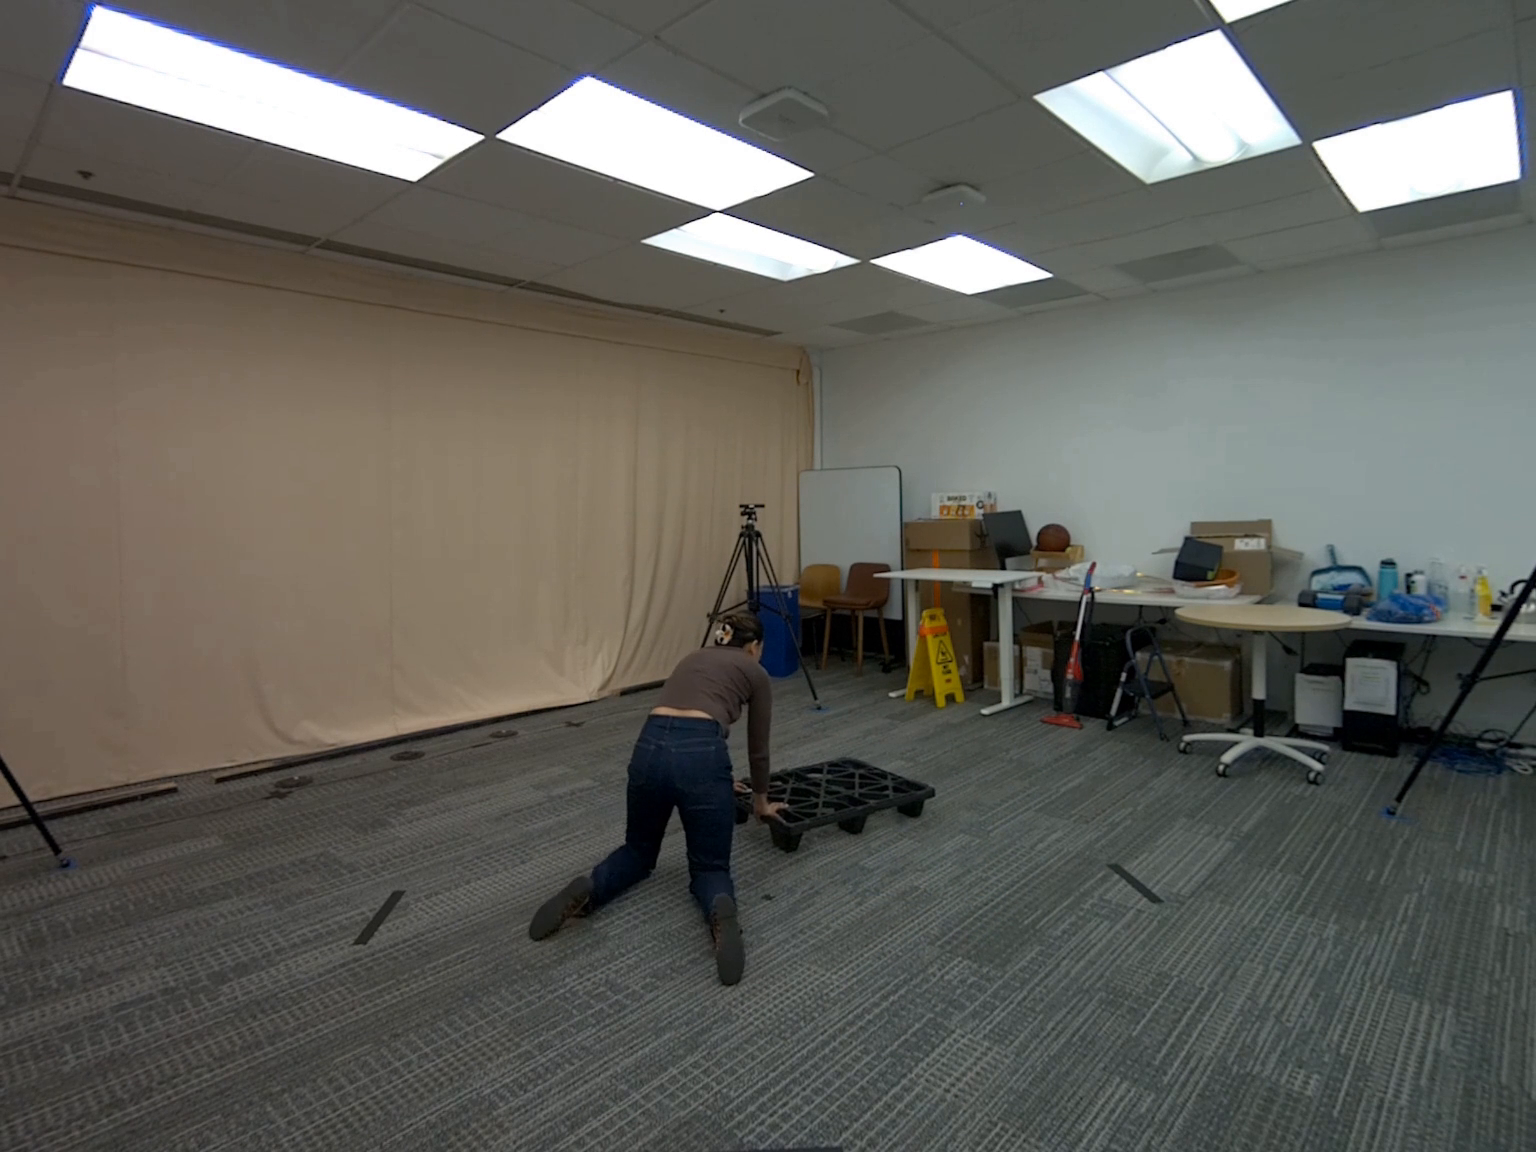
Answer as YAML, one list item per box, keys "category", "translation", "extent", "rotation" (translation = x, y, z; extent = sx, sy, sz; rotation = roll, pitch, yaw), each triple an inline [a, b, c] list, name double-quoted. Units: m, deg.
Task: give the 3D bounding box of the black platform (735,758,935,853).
- category: "black platform"
  translation: [0.243, 1.003, 3.738]
  extent: [0.783, 0.143, 0.623]
  rotation: [-3, 4, -33]
